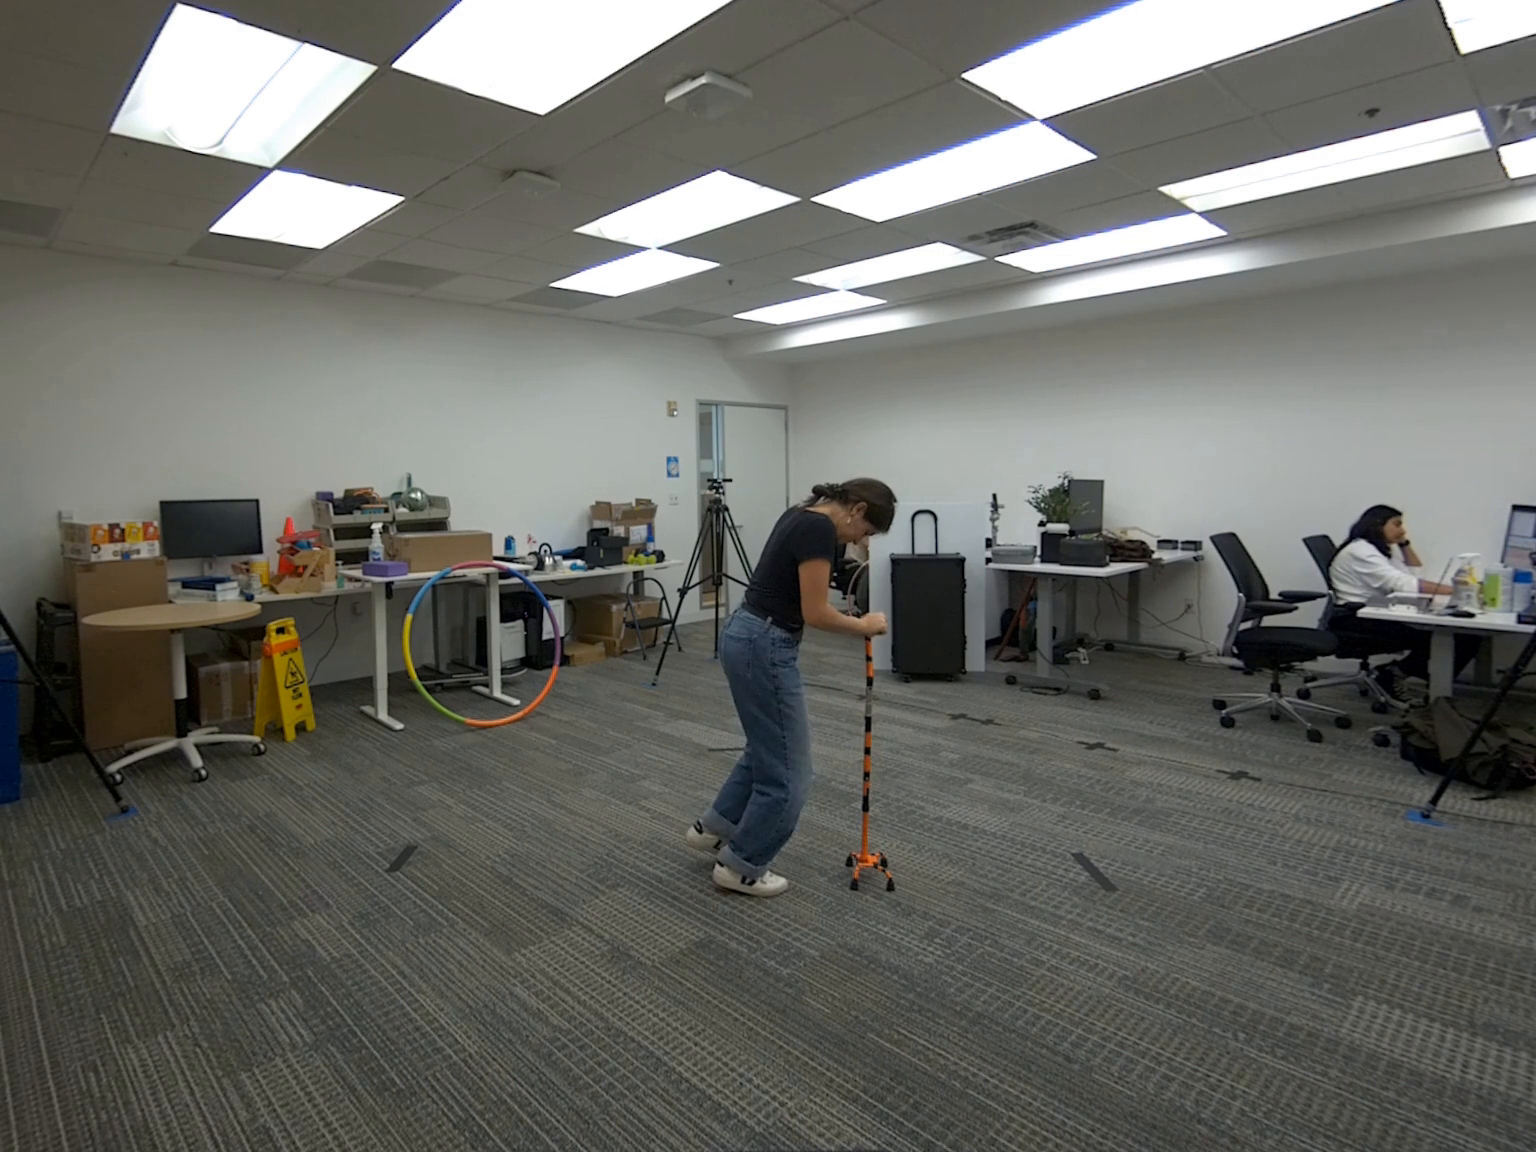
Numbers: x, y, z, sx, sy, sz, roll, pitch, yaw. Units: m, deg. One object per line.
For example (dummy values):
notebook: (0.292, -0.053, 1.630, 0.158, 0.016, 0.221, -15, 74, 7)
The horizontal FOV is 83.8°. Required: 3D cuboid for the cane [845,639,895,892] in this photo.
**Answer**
cane: (0.358, 0.594, 2.952, 0.152, 0.905, 0.207, 0, 3, 1)
